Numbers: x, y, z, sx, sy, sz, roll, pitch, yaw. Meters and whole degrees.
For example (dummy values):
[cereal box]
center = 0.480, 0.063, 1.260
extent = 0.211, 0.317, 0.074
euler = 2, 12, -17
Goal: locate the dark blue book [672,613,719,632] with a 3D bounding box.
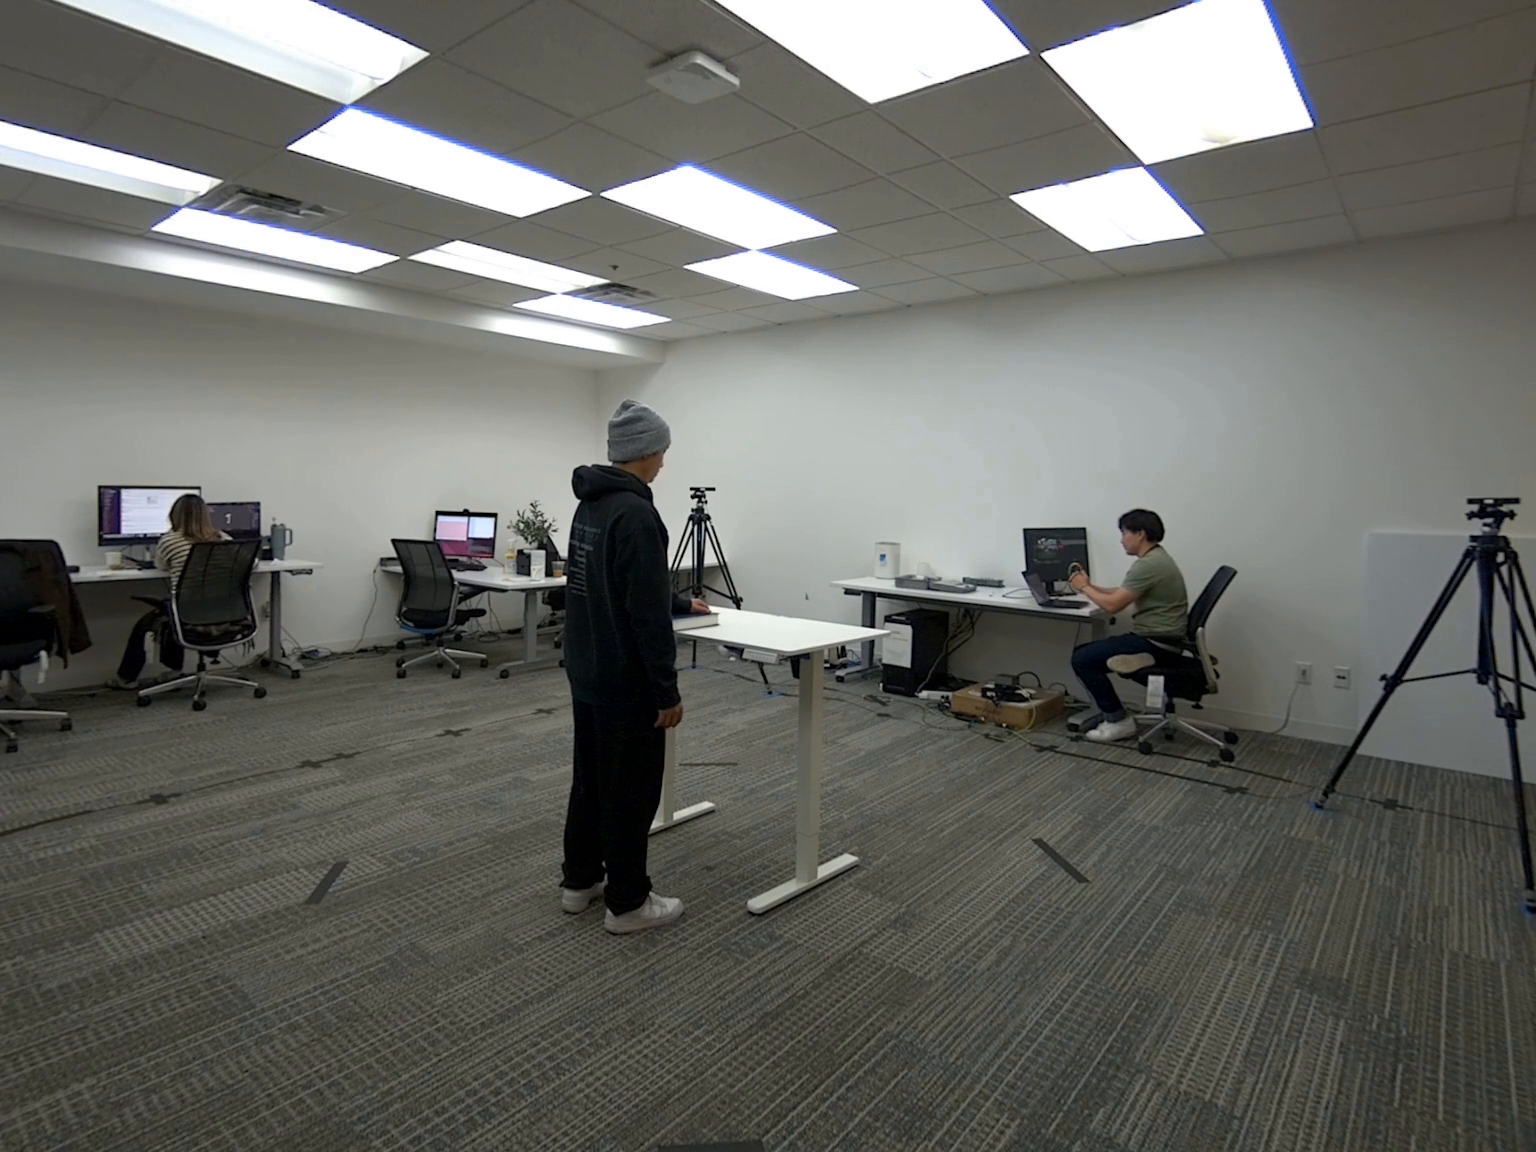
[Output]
[dark blue book]
center = -0.332, 0.163, 3.113
extent = 0.238, 0.045, 0.169
euler = -4, 6, -44
